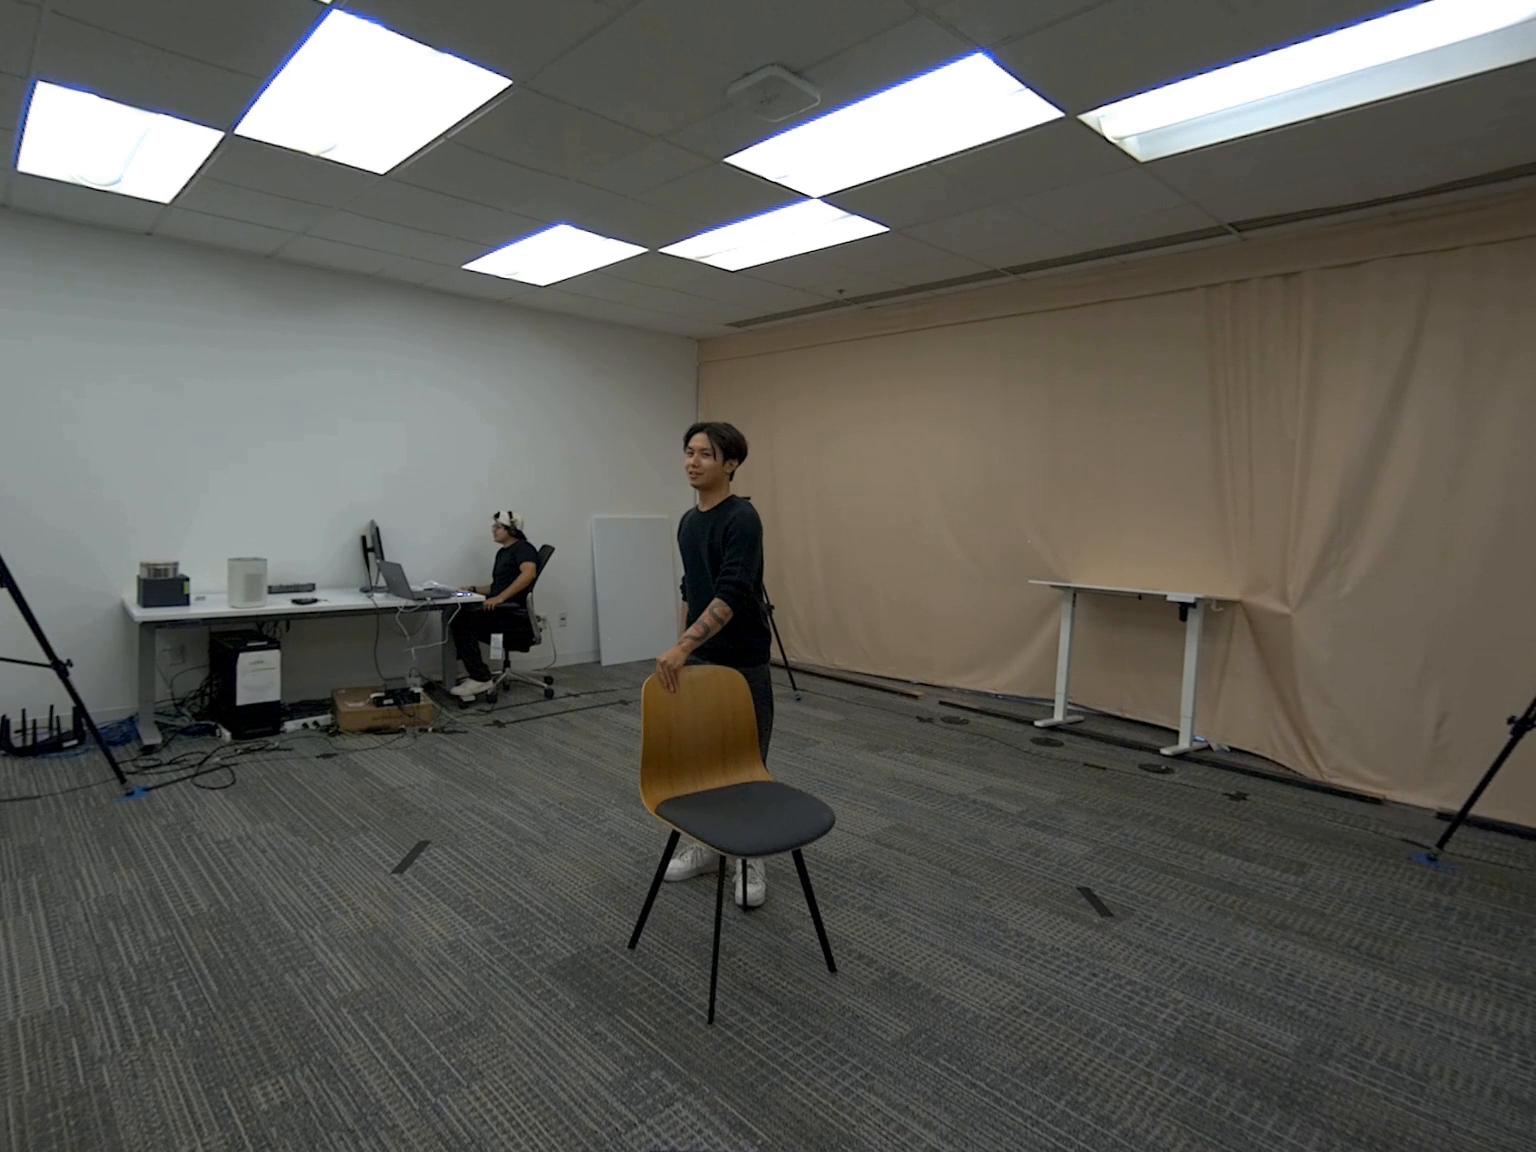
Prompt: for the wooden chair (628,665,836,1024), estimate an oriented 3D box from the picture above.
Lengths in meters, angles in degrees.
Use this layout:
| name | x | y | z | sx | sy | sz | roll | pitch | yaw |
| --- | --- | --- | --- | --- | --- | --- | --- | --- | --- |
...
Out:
| name | x | y | z | sx | sy | sz | roll | pitch | yaw |
| --- | --- | --- | --- | --- | --- | --- | --- | --- | --- |
| wooden chair | -0.108 | 0.737 | 2.497 | 0.467 | 0.878 | 0.535 | -1 | 0 | -37 |
